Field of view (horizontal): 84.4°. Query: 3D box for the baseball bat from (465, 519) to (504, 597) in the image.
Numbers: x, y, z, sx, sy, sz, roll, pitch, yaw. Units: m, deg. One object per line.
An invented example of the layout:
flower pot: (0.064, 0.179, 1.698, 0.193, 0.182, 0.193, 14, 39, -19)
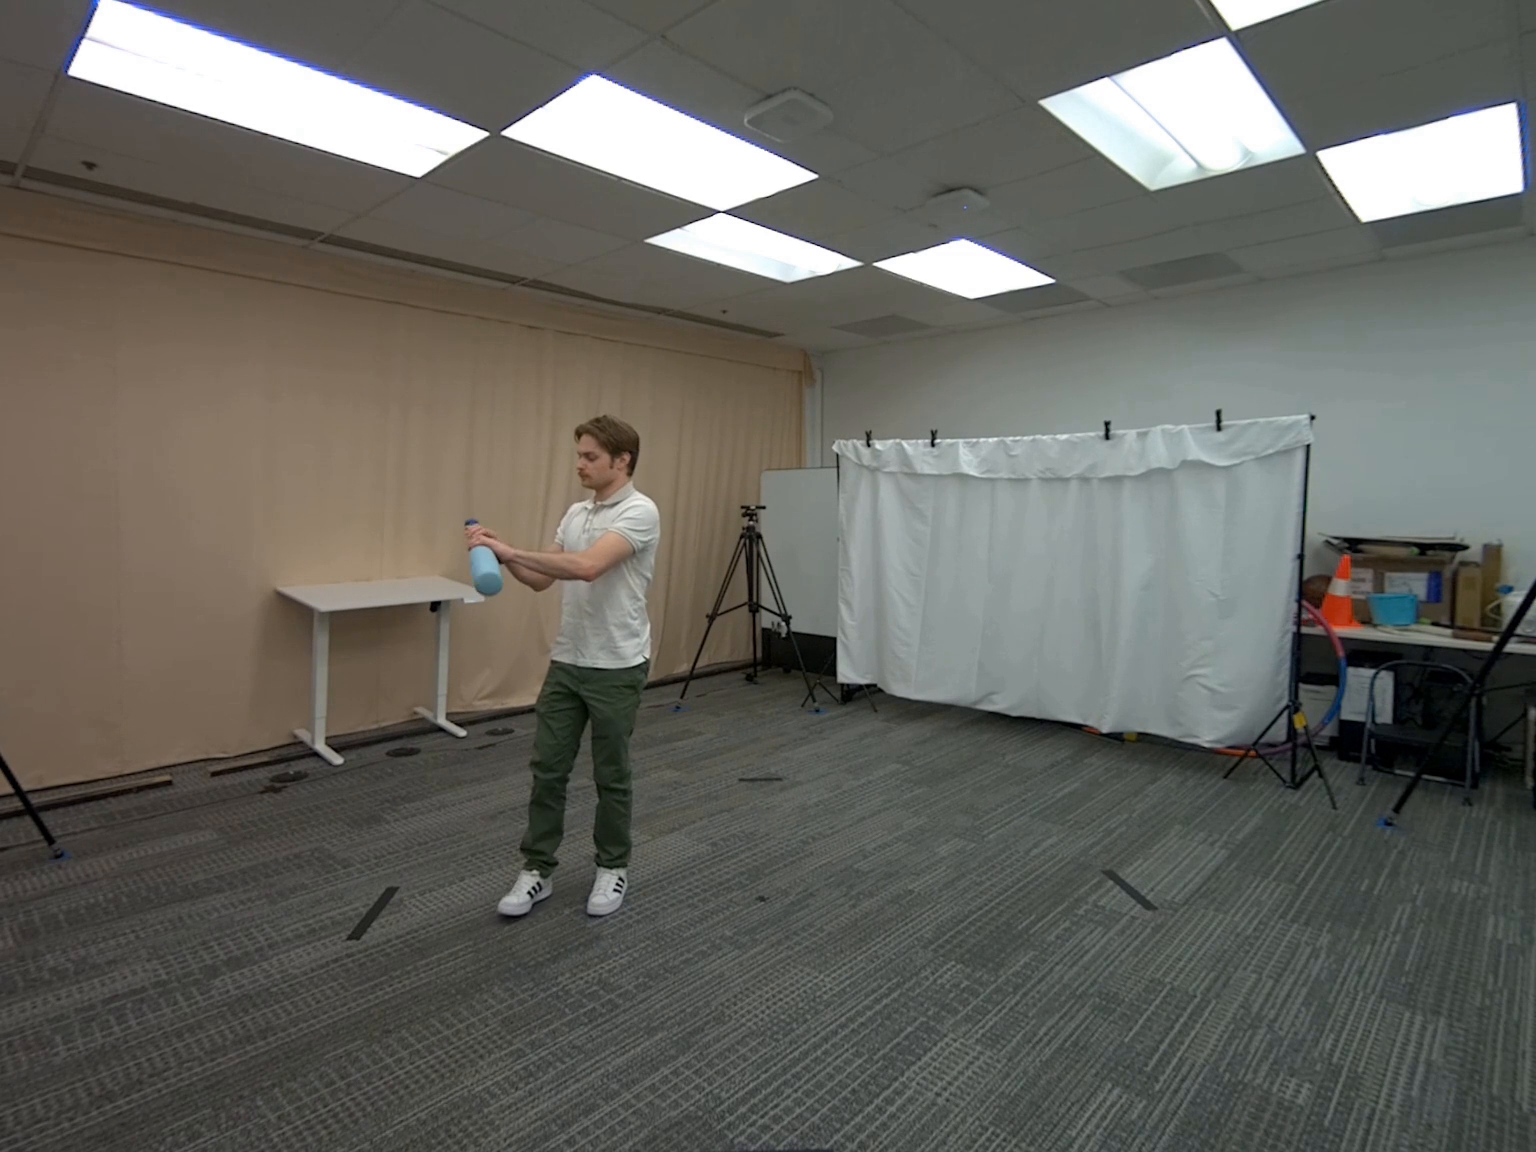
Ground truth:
baseball bat: (-0.917, -0.074, 2.710, 0.087, 0.088, 0.560, -2, 22, -24)
